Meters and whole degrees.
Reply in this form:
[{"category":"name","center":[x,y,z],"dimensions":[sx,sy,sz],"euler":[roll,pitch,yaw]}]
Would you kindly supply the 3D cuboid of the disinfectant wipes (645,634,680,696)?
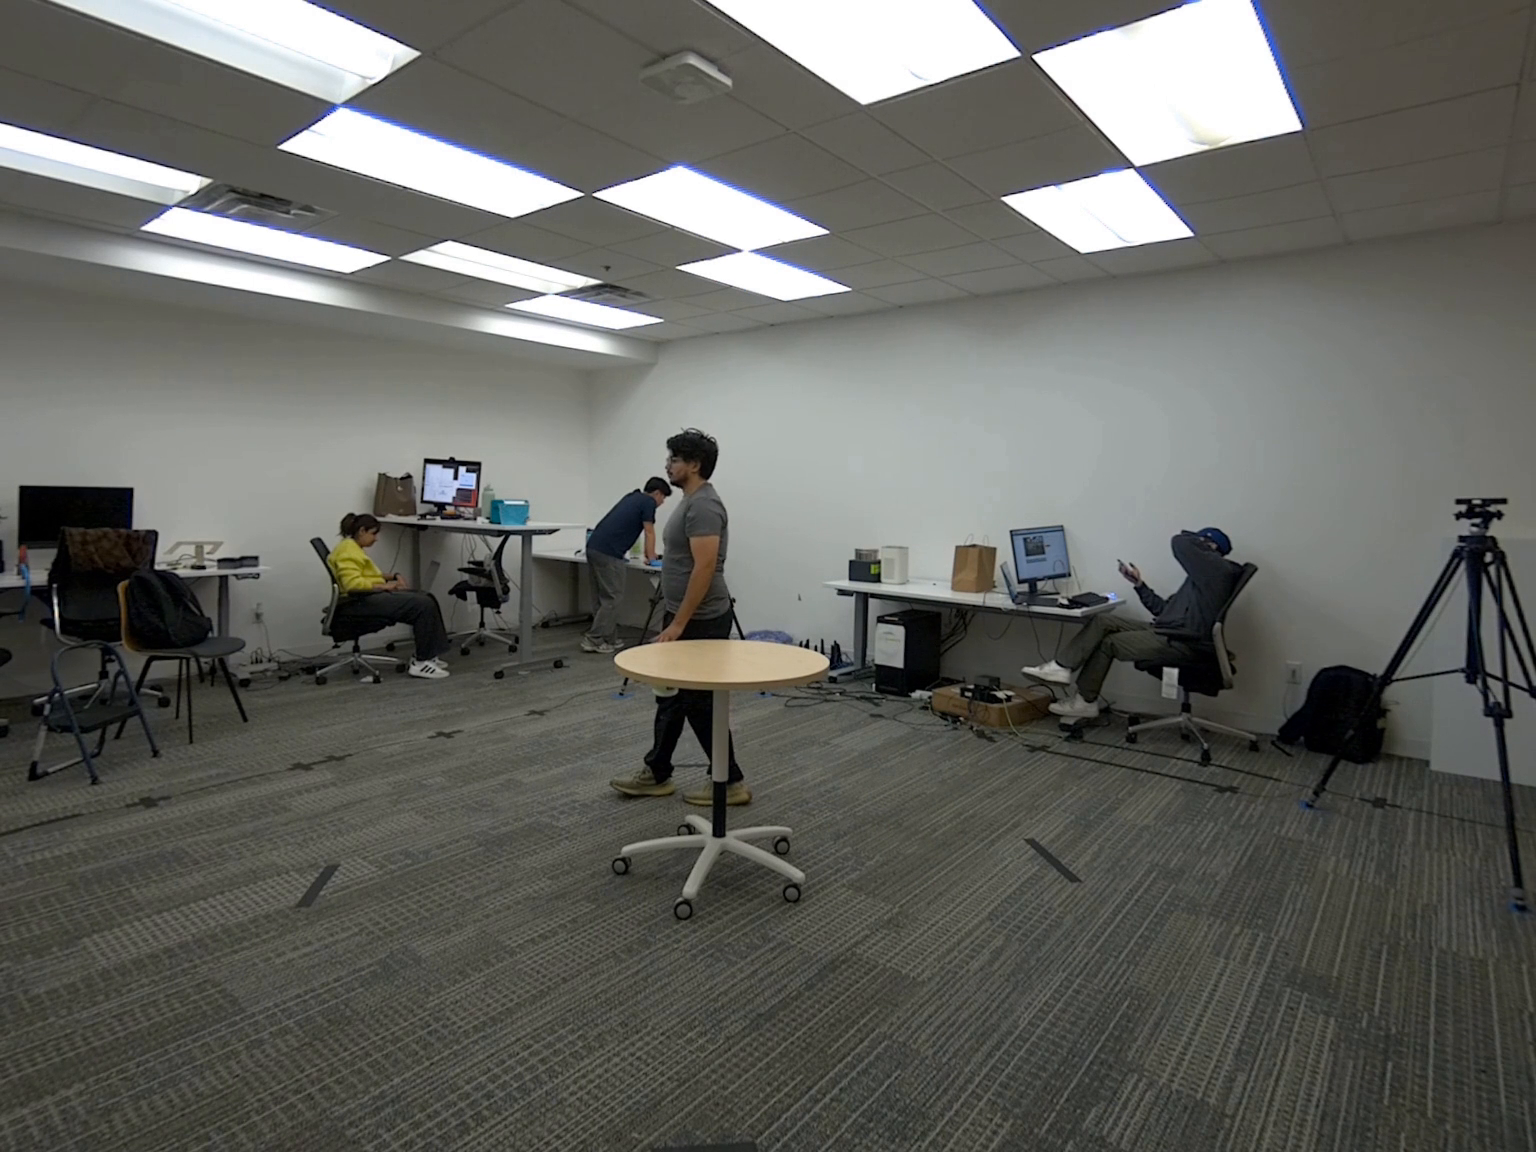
[{"category":"disinfectant wipes","center":[-0.443,0.370,3.524],"dimensions":[0.117,0.215,0.119],"euler":[5,11,-3]}]
